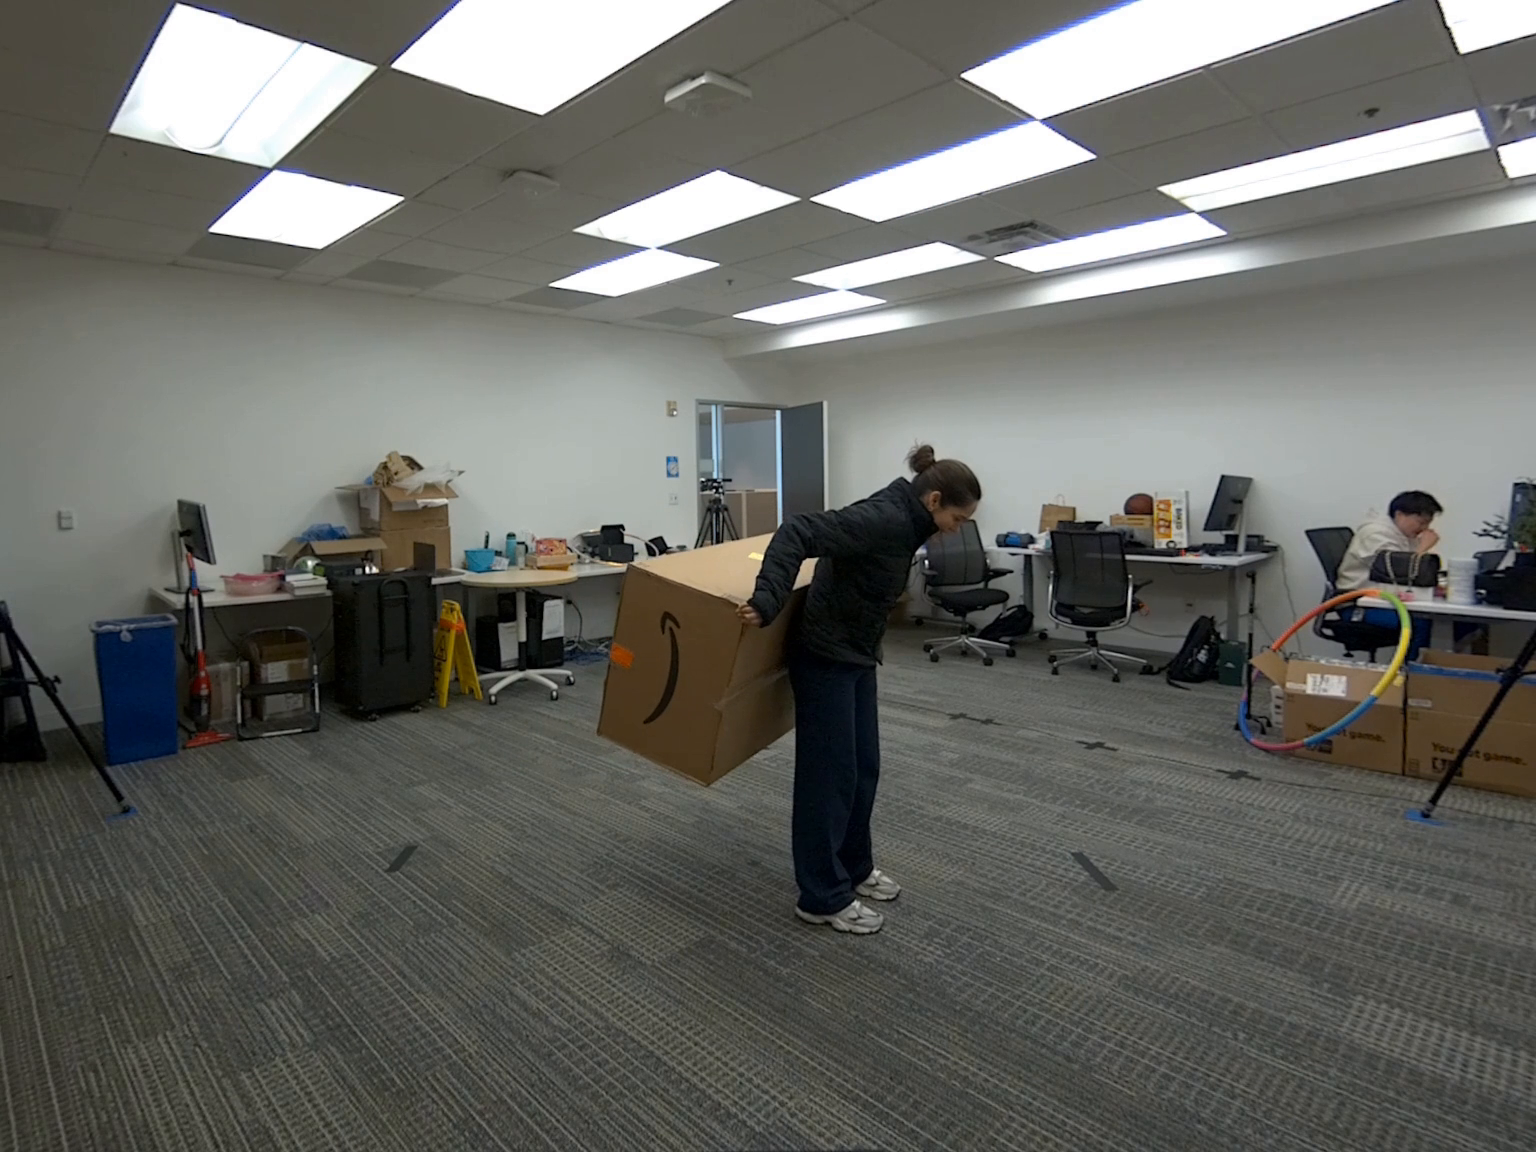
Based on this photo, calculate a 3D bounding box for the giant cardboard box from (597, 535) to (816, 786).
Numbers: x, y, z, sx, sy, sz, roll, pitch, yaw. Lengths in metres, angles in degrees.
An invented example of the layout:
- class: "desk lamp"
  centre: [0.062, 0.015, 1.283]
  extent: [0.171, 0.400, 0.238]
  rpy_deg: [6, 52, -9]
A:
- class: "giant cardboard box"
  centre: [-0.079, 0.227, 2.999]
  extent: [0.439, 0.572, 1.006]
  rpy_deg: [18, 15, 25]
